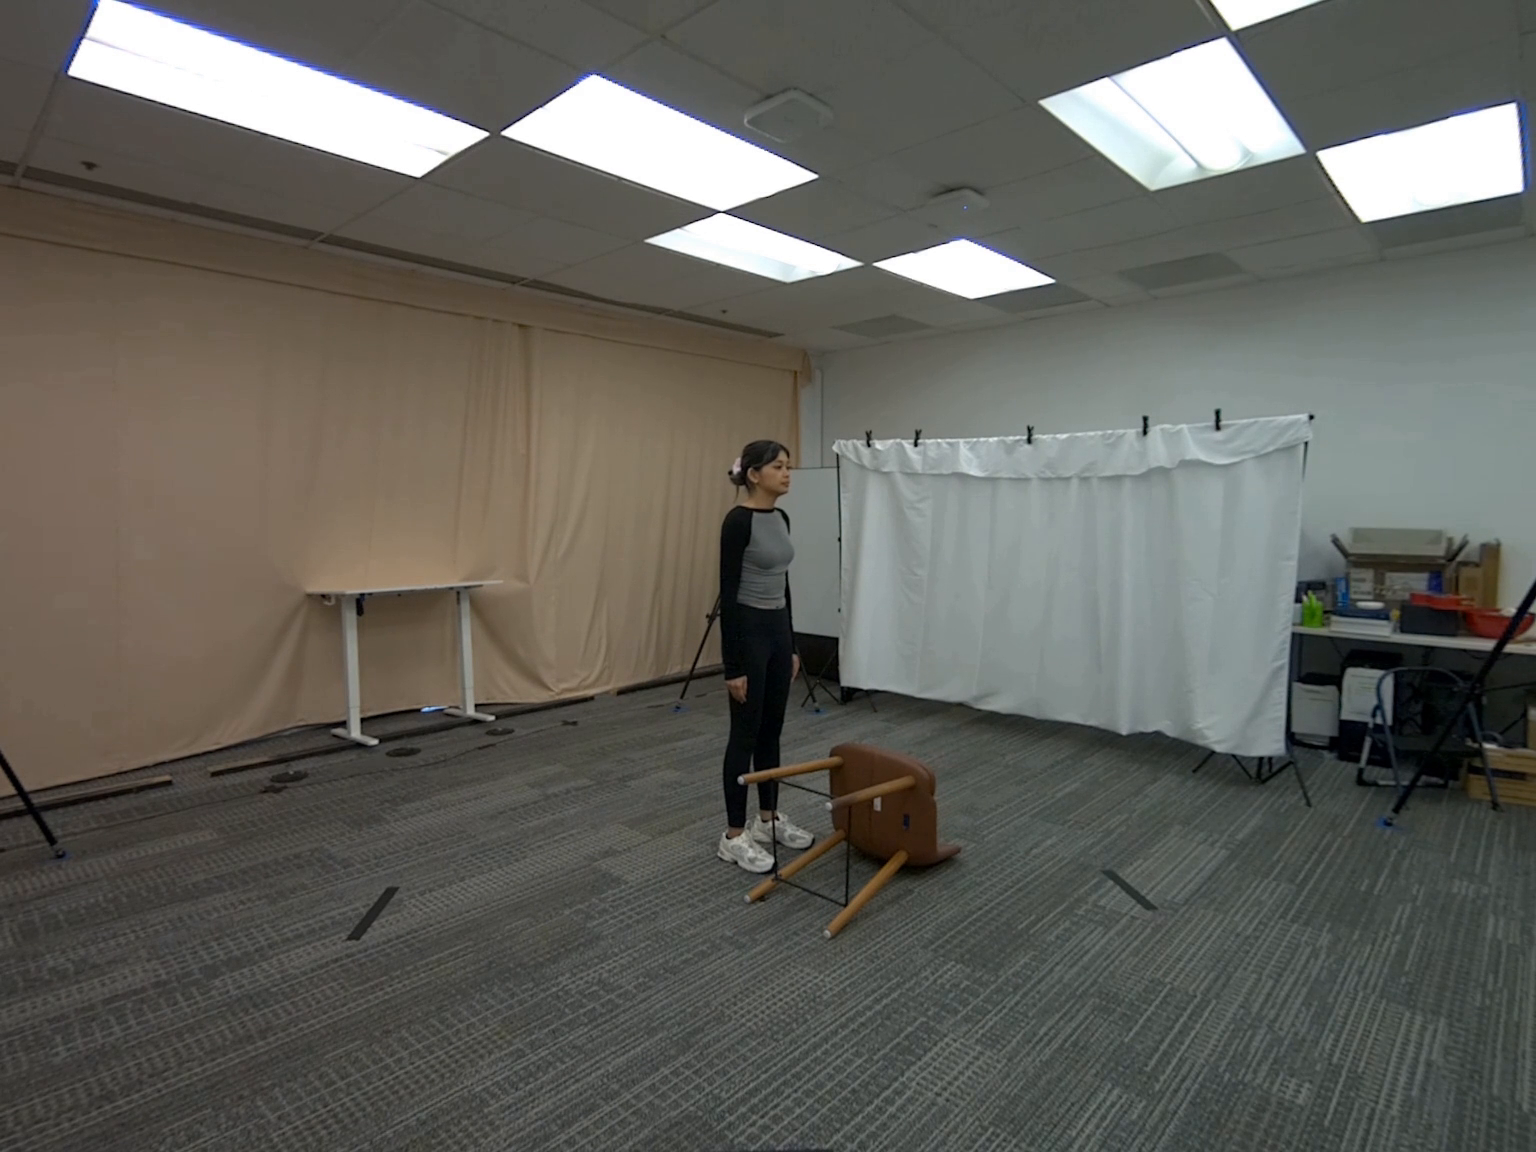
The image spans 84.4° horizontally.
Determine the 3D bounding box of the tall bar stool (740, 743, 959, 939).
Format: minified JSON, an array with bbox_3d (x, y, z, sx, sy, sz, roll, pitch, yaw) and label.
[{"bbox_3d":[0.343,0.901,3.120,0.472,0.467,0.862,3,5,43],"label":"tall bar stool"}]
